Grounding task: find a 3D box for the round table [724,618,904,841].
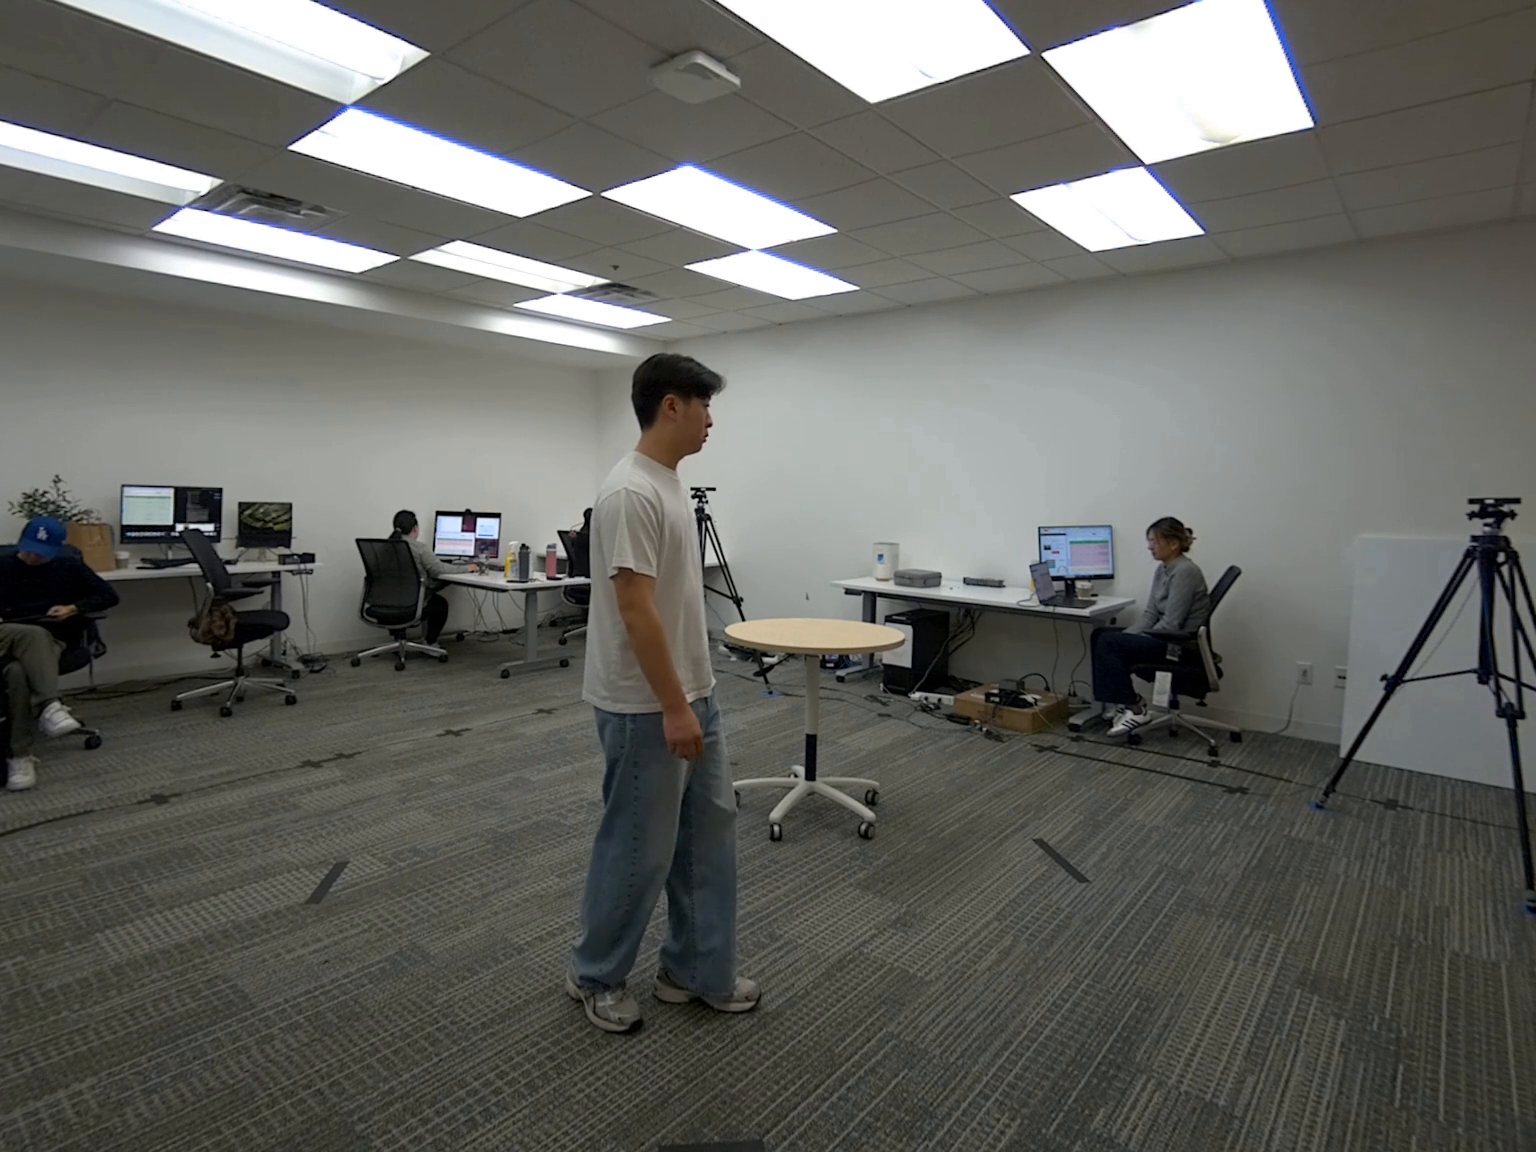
[{"bbox_3d":[0.172,0.630,3.667,0.763,0.791,0.768,1,4,-2],"label":"round table"}]
